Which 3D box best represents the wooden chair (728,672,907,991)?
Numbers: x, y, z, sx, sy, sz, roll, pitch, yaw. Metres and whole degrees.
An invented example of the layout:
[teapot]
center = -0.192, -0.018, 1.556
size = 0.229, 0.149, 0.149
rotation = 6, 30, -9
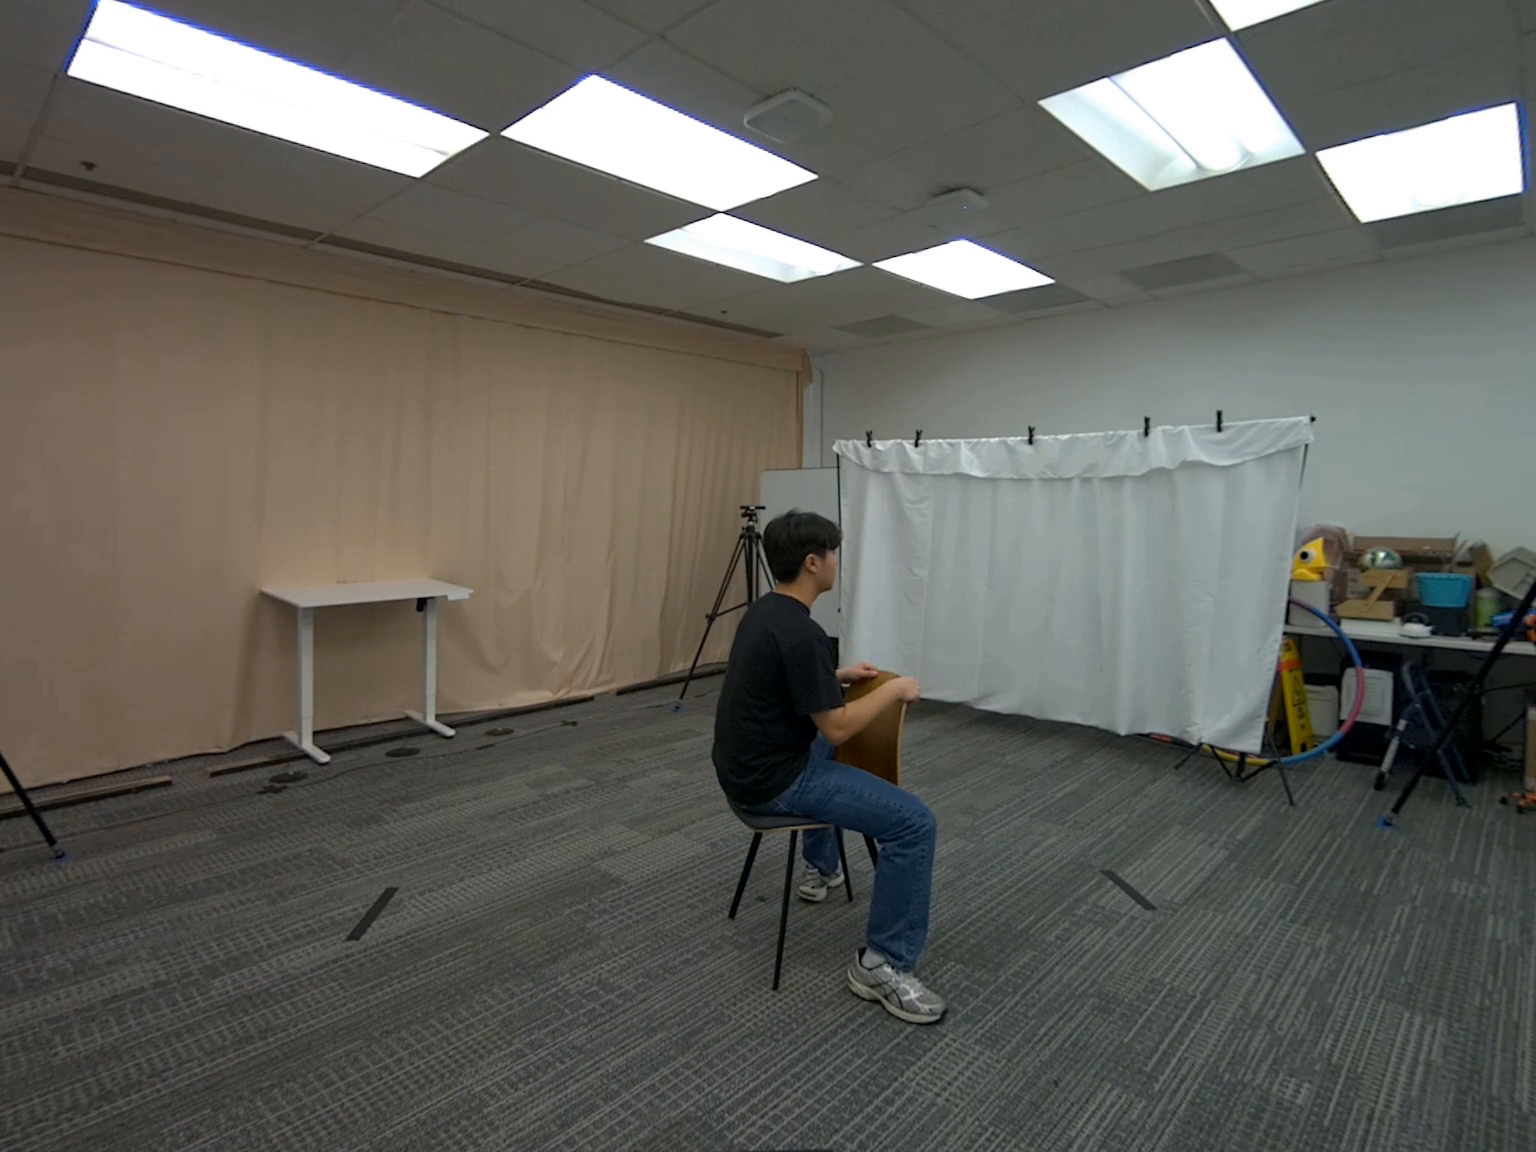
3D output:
[wooden chair]
center = 0.149, 0.743, 2.664
size = 0.513, 0.876, 0.488
rotation = 2, 3, -18
